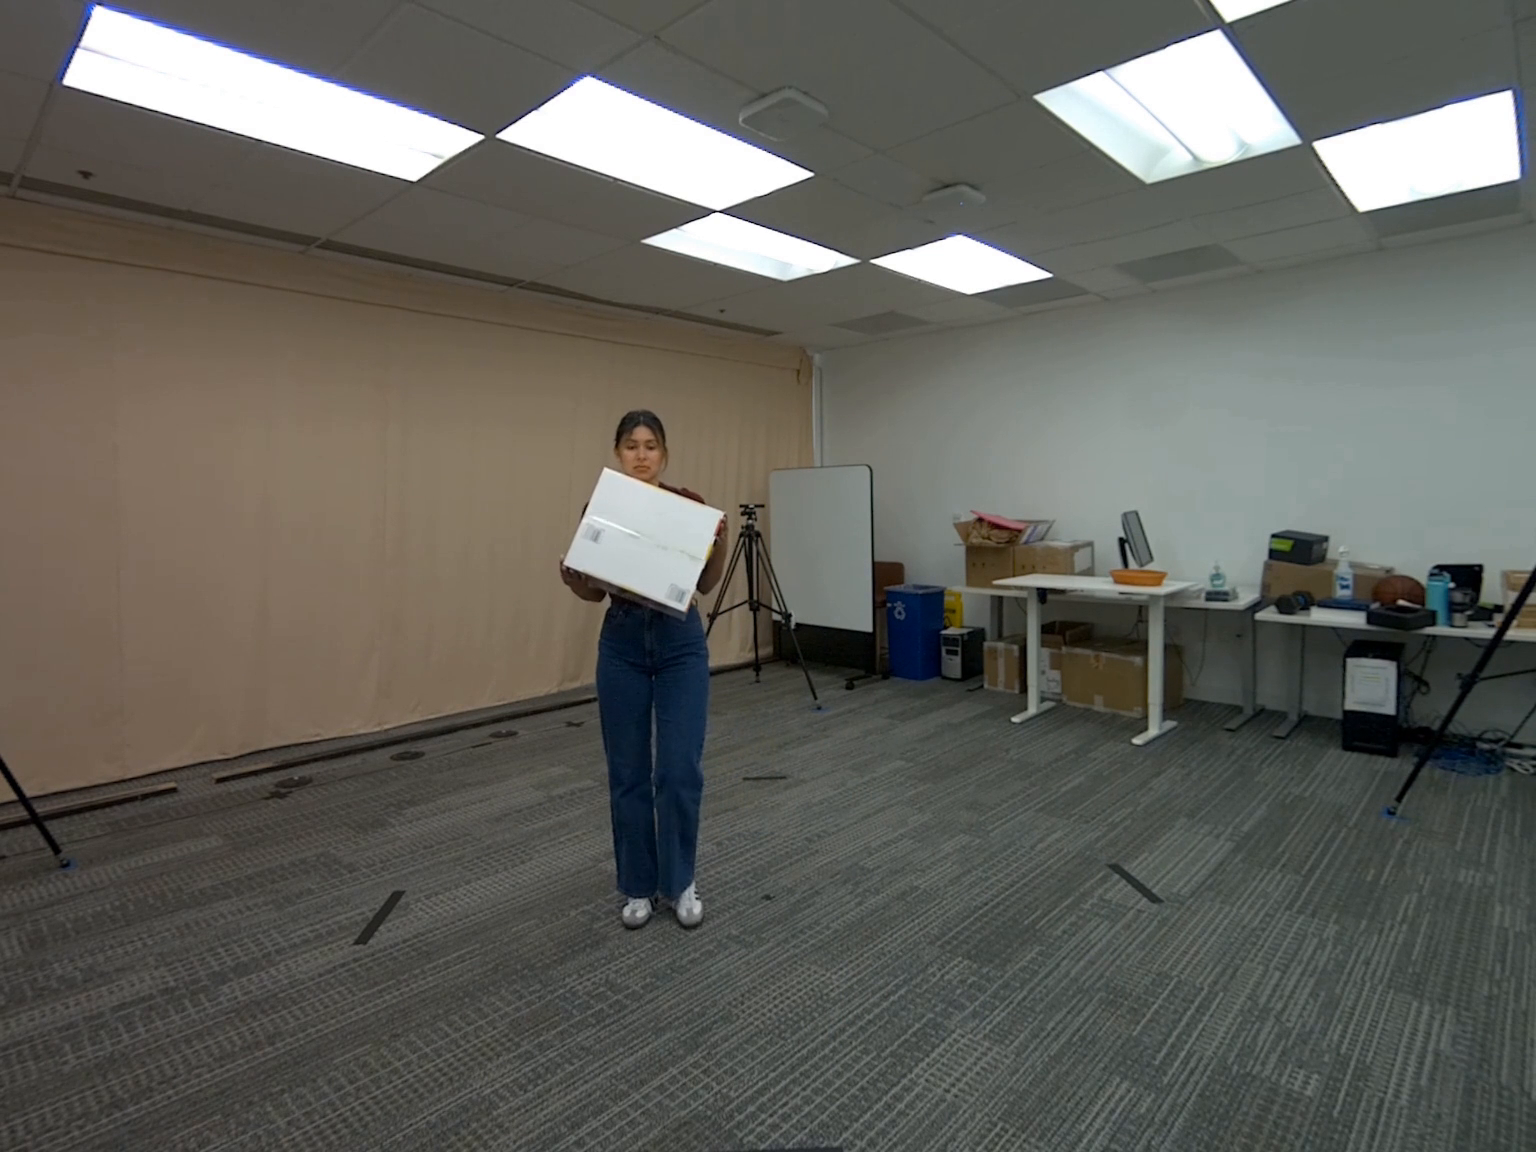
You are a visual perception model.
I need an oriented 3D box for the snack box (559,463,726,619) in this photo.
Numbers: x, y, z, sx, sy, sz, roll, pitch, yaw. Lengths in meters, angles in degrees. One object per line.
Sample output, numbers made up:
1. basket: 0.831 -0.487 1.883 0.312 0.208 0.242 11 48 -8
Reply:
1. snack box: -0.390 -0.101 2.668 0.405 0.341 0.205 21 -13 0
